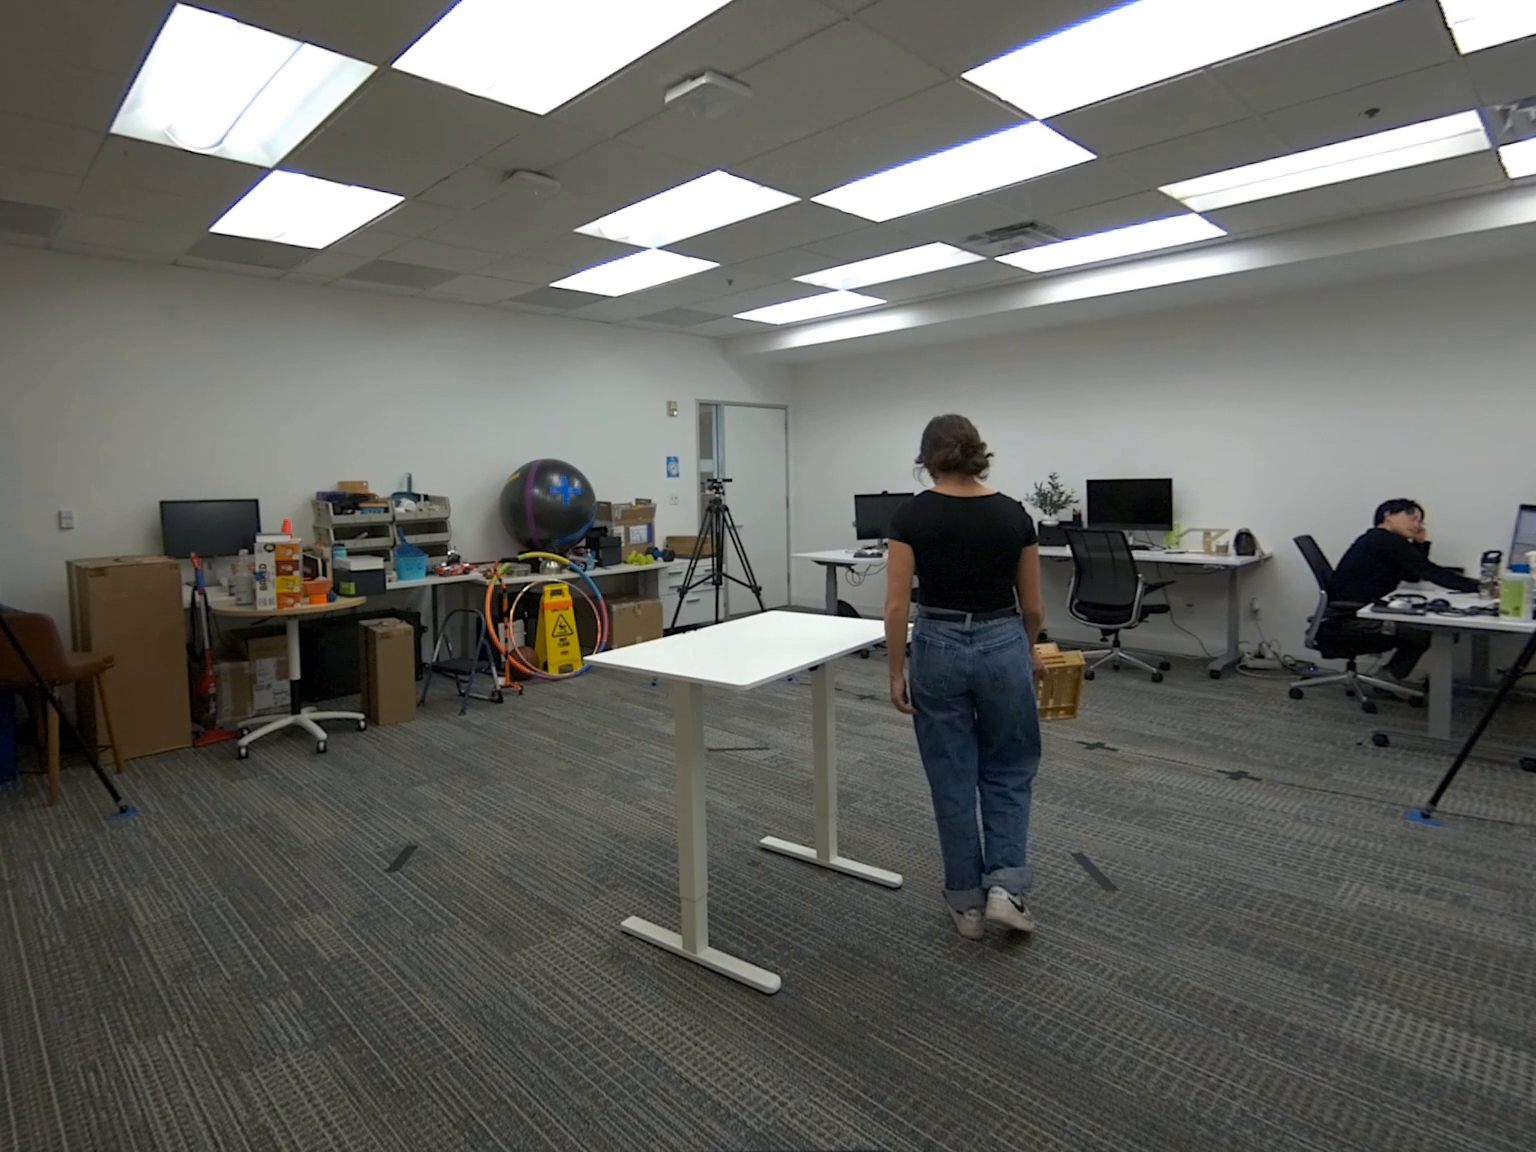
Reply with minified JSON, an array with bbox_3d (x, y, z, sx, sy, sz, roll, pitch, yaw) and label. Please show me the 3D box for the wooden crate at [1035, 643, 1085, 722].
[{"bbox_3d":[0.864,0.341,2.928,0.324,0.294,0.281,-6,30,-3],"label":"wooden crate"}]
